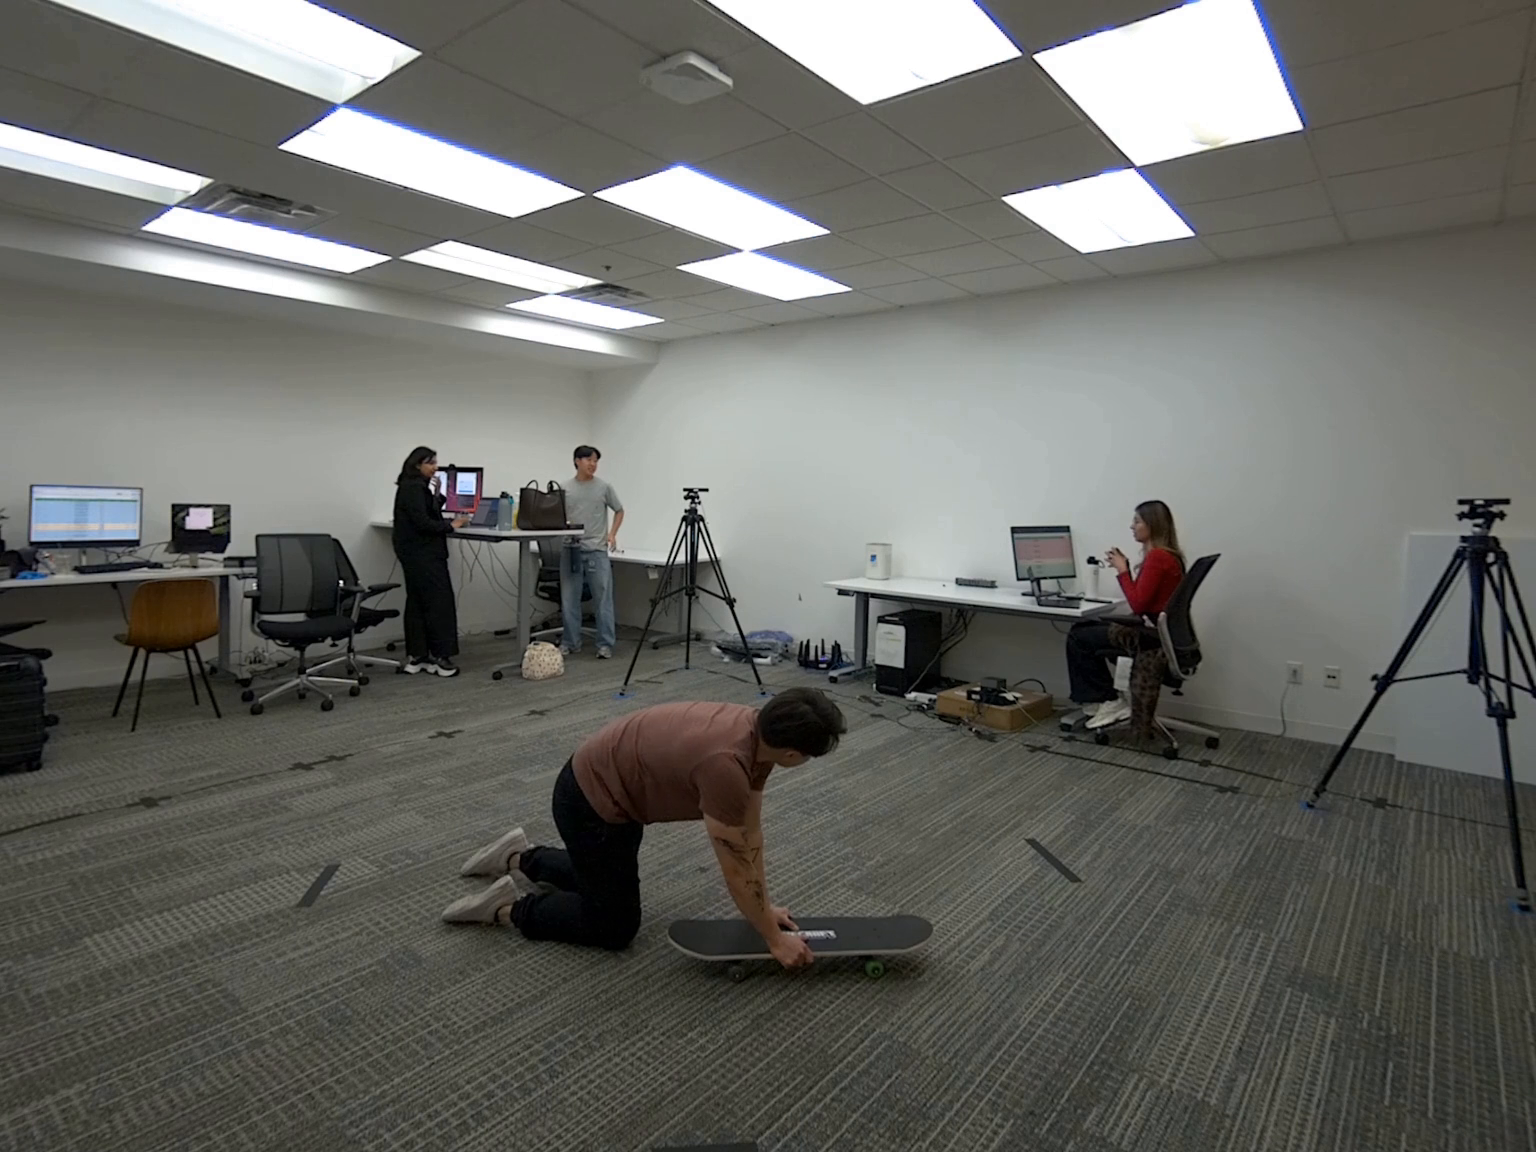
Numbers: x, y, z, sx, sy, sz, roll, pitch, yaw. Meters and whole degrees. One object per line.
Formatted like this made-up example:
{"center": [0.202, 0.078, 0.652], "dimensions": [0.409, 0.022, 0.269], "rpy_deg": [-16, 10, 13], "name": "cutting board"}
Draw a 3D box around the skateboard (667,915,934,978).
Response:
{"center": [0.084, 1.086, 2.492], "dimensions": [0.780, 0.110, 0.196], "rpy_deg": [1, 6, -6], "name": "skateboard"}
